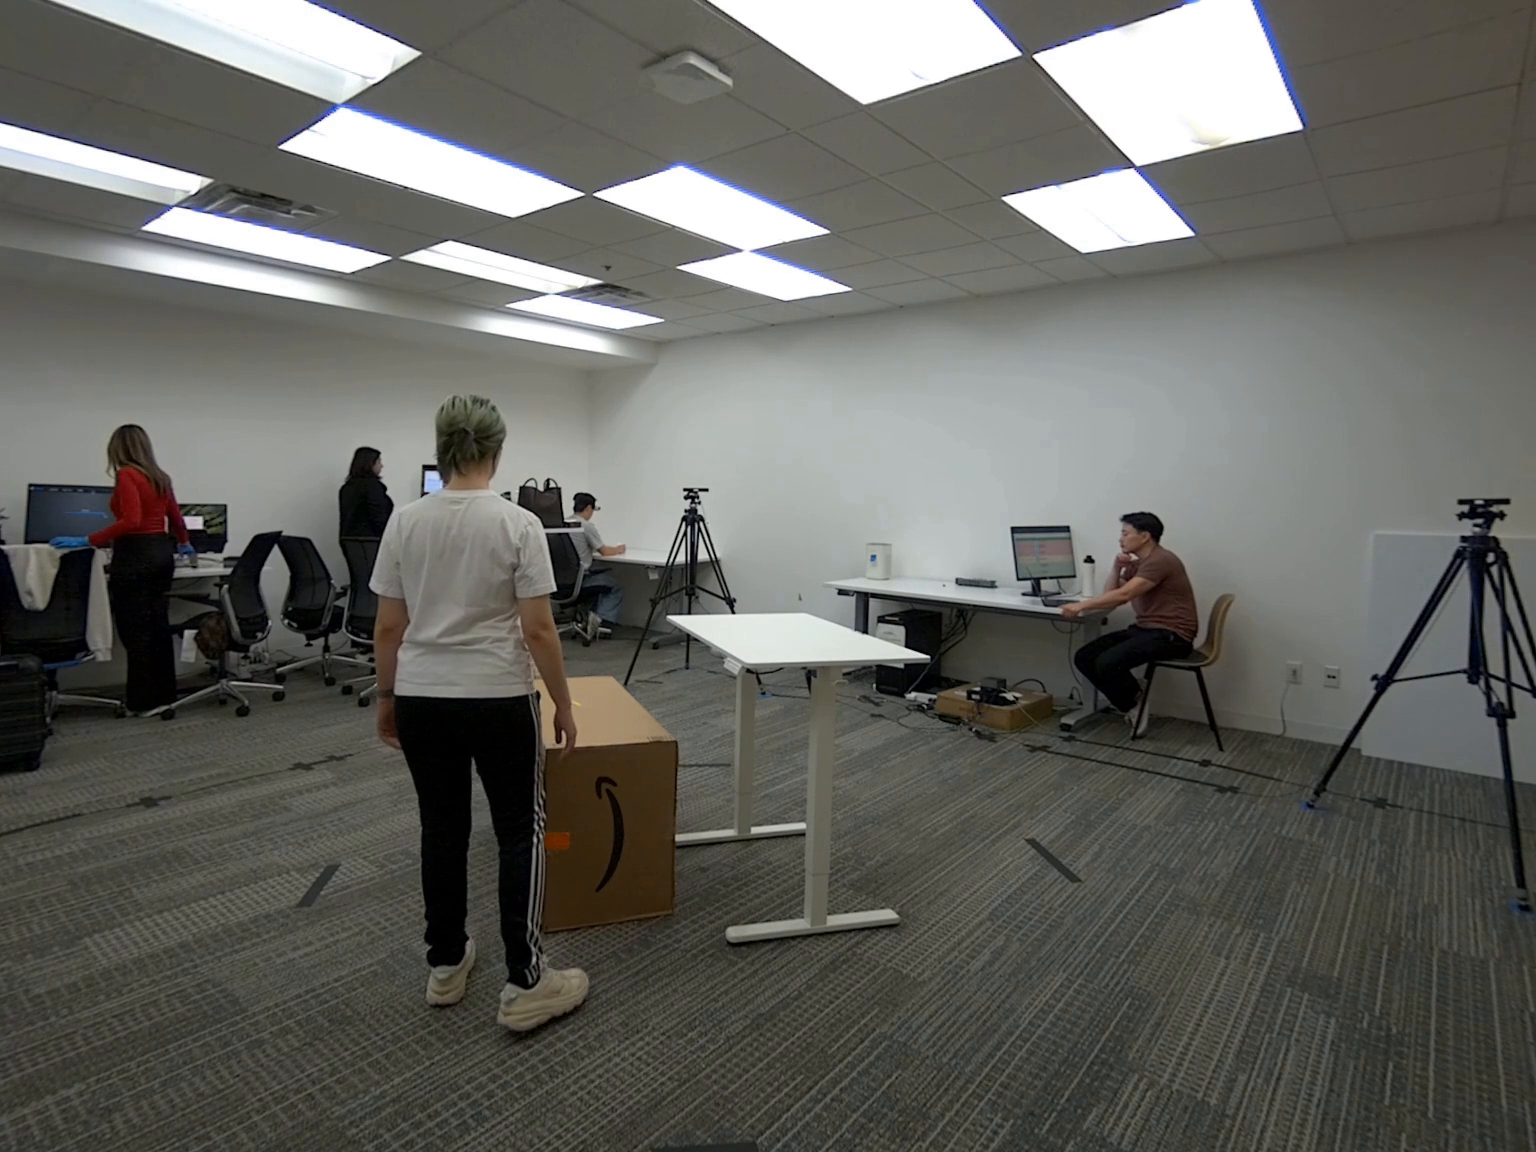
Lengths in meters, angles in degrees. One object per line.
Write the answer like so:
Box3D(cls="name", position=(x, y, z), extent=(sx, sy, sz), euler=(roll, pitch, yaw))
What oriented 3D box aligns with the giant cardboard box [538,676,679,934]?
Box3D(cls="giant cardboard box", position=(-0.700, 0.764, 3.167), extent=(0.437, 0.582, 1.052), euler=(0, 4, -22))
